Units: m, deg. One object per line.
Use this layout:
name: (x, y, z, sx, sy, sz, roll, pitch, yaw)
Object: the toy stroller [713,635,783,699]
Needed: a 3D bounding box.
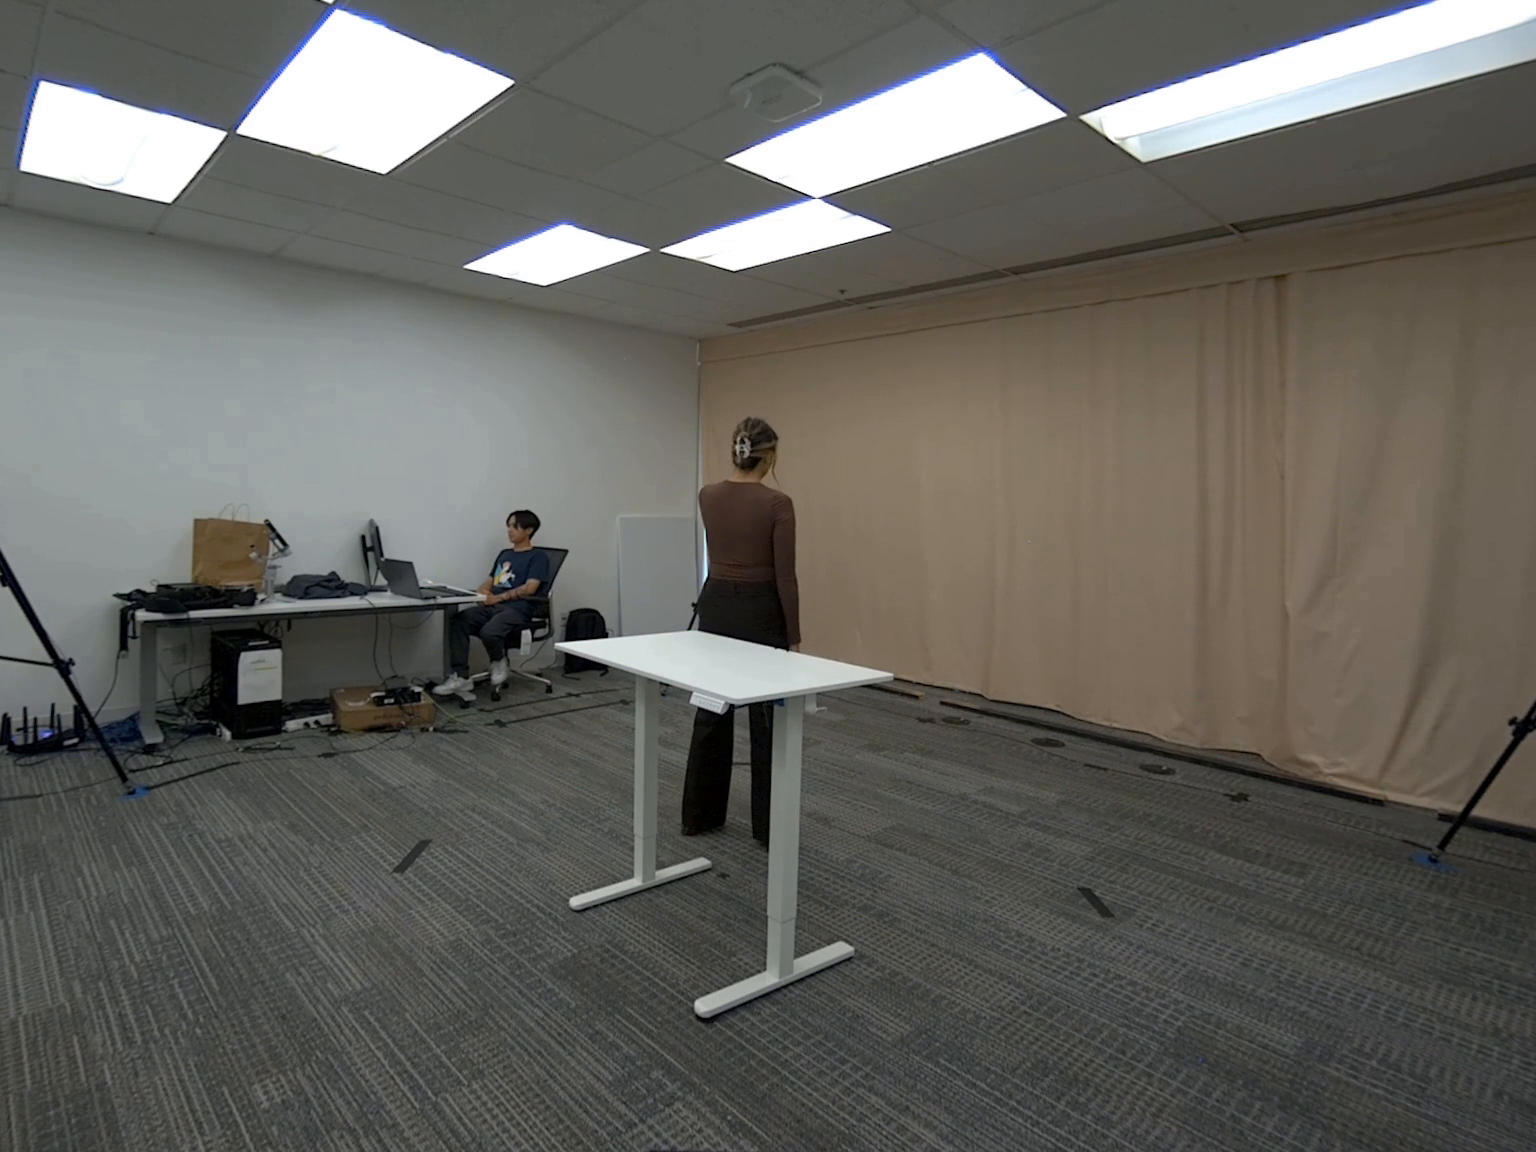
toy stroller: (-0.085, 0.275, 4.053, 0.283, 0.535, 0.339, 2, 1, 7)
